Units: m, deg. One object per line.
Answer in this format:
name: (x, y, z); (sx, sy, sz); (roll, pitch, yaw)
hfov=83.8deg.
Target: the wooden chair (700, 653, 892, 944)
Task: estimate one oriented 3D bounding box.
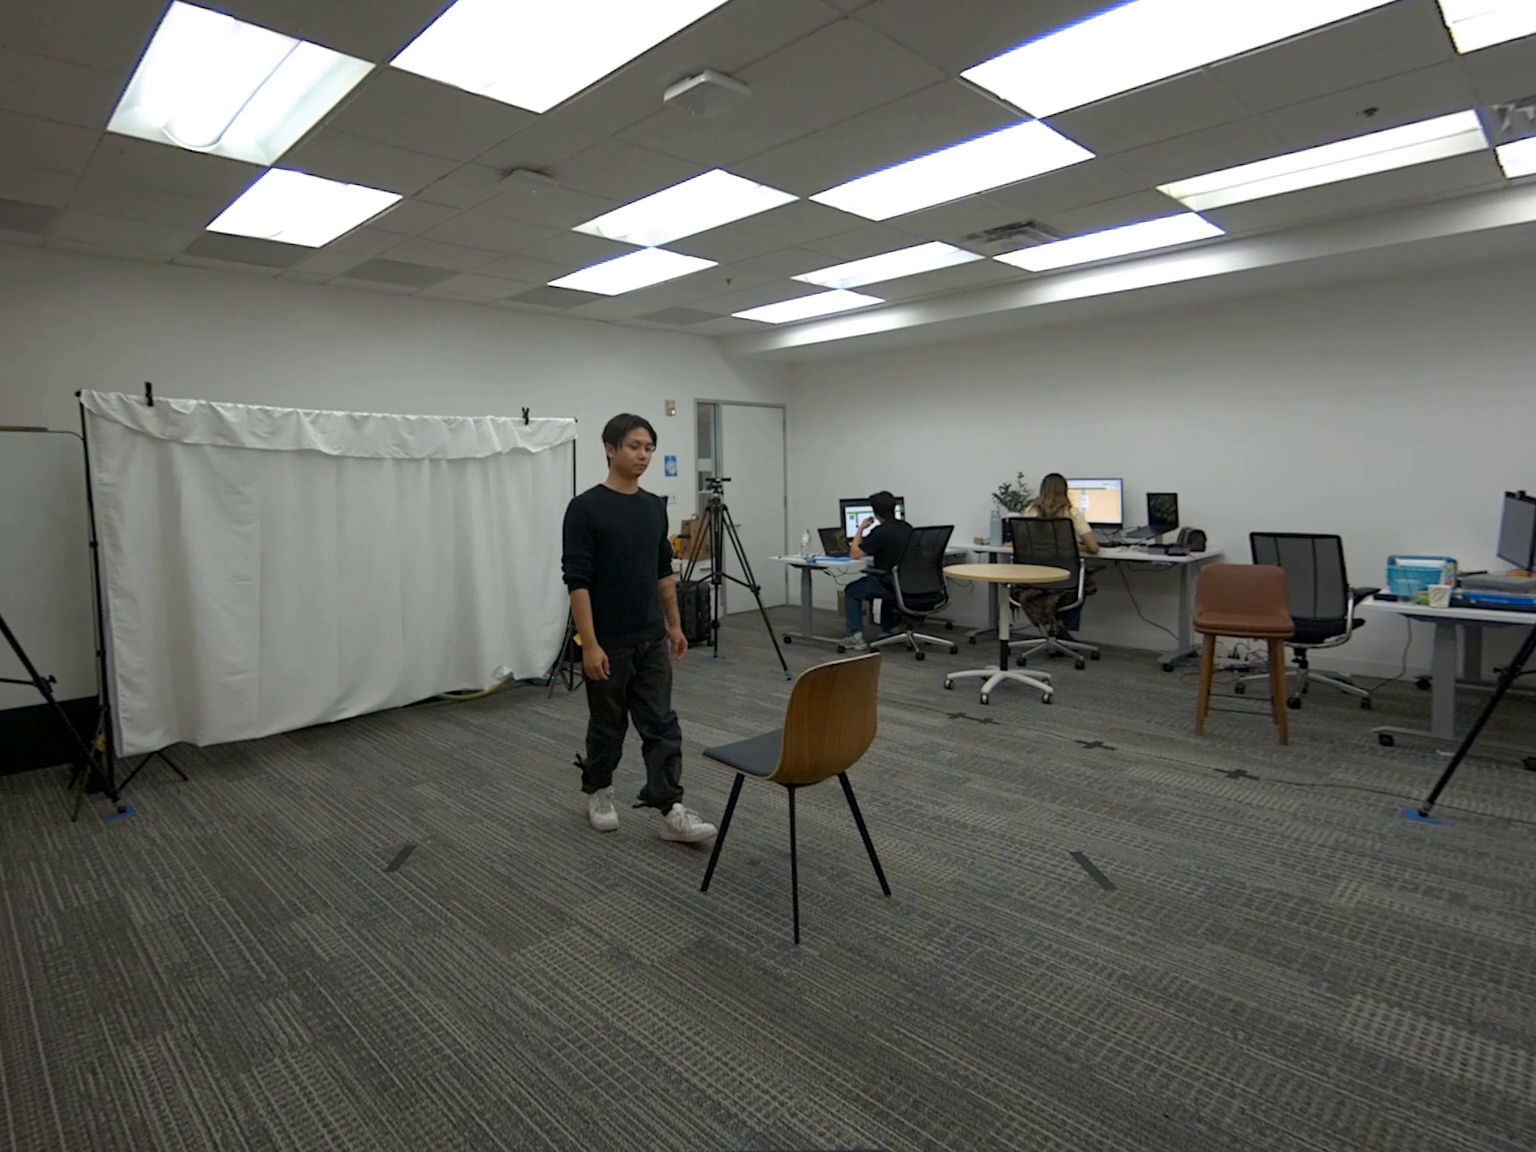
wooden chair: (0.080, 0.643, 2.845); (0.465, 0.871, 0.541); (-5, 10, -42)
